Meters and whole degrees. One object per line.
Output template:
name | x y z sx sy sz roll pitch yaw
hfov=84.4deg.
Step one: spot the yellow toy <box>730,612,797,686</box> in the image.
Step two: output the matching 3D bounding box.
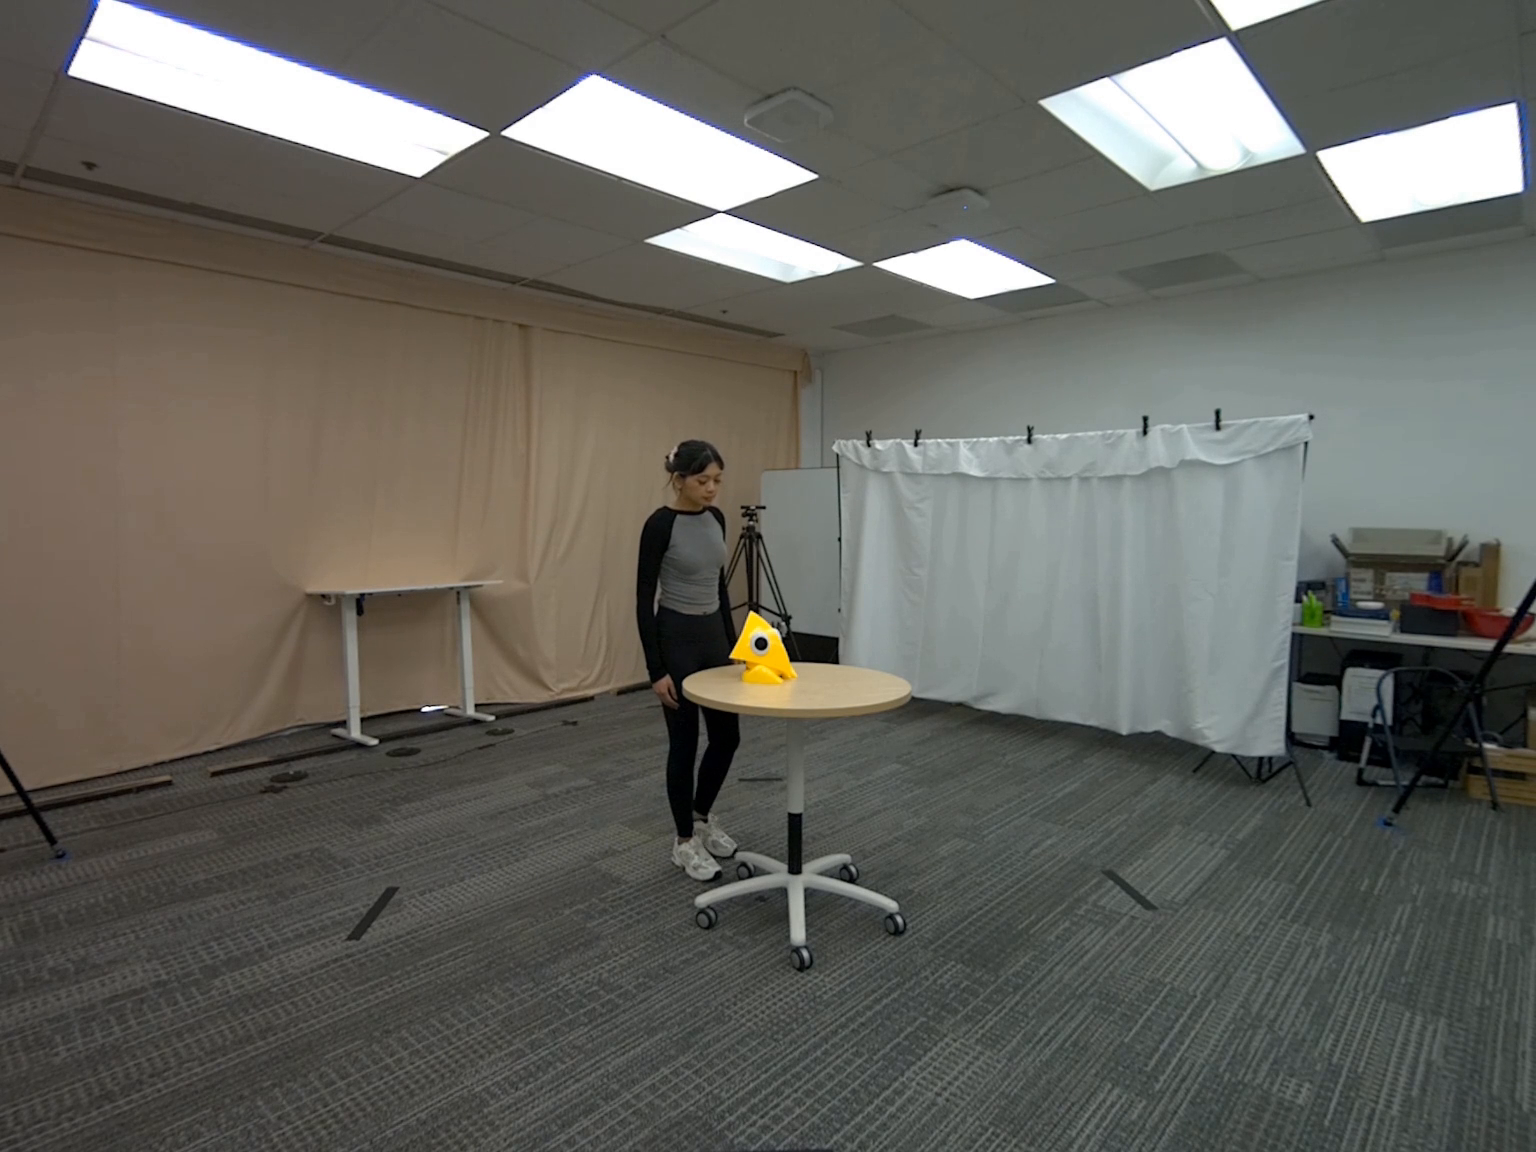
yellow toy | 0.002 0.241 2.926 0.198 0.230 0.200 2 4 27
